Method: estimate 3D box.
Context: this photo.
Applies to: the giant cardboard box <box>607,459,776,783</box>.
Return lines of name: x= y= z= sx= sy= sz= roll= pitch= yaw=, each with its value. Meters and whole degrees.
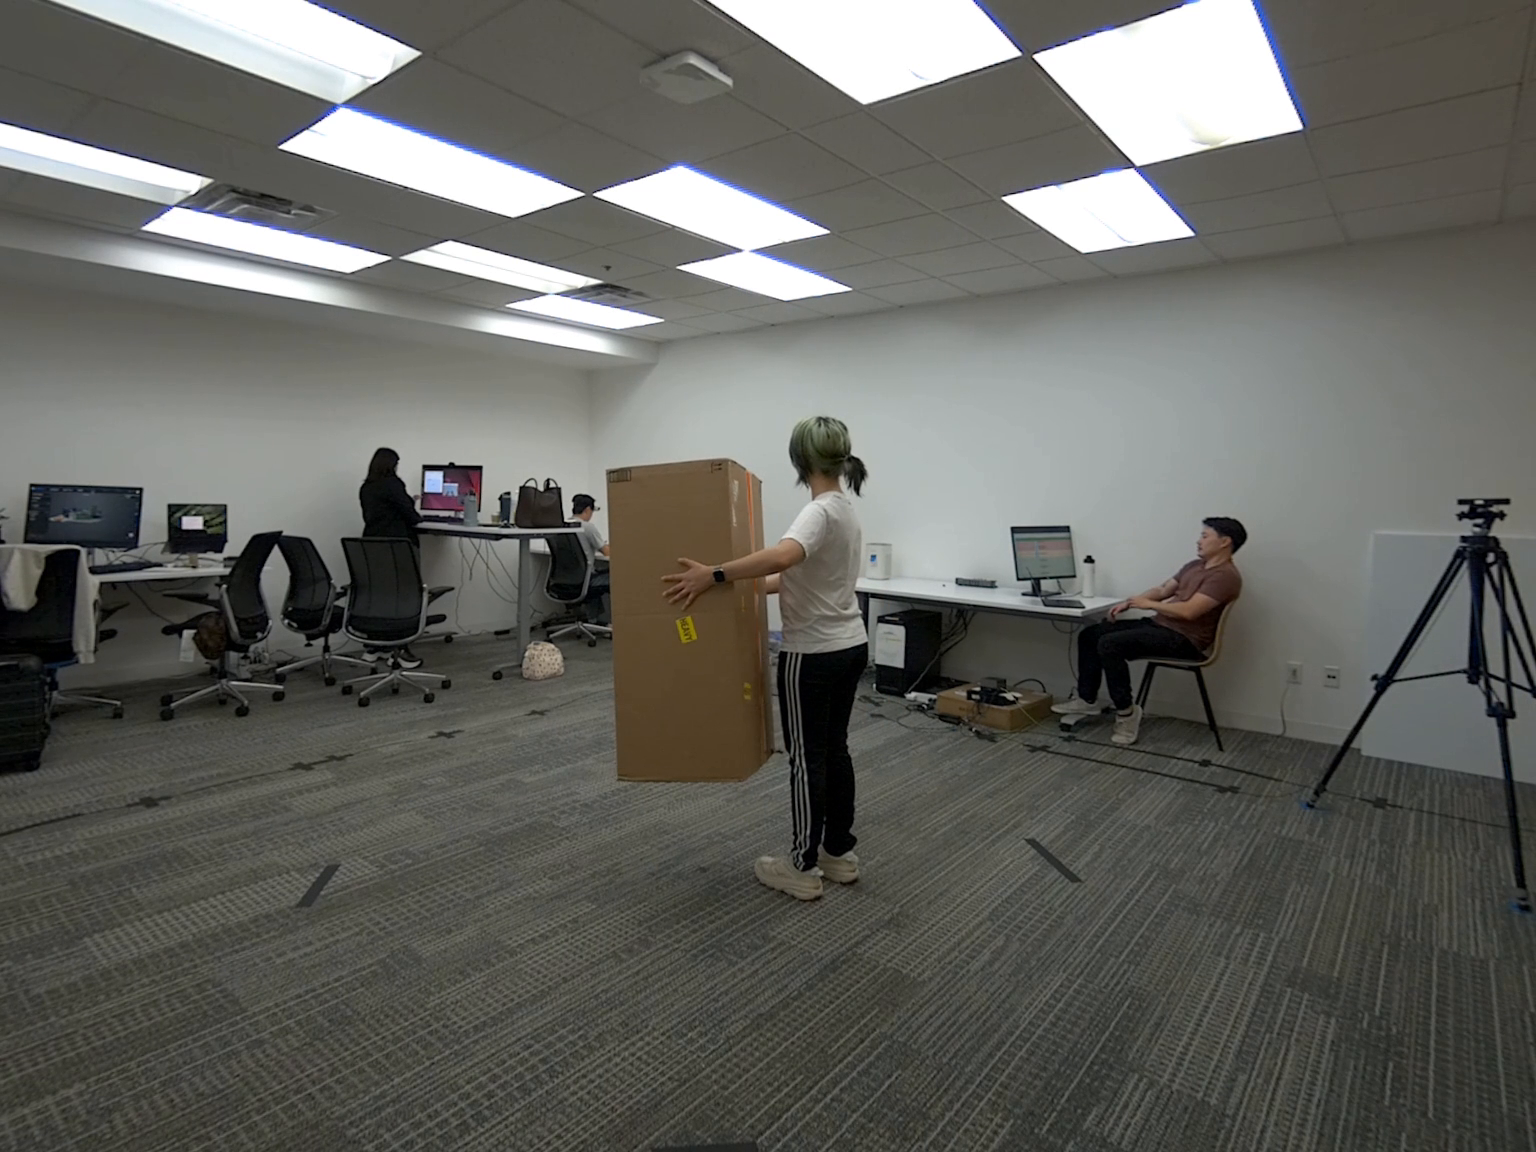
giant cardboard box: x=-0.265 y=0.147 z=3.012 sx=0.432 sy=1.031 sz=0.567 roll=-4 pitch=-4 yaw=13
